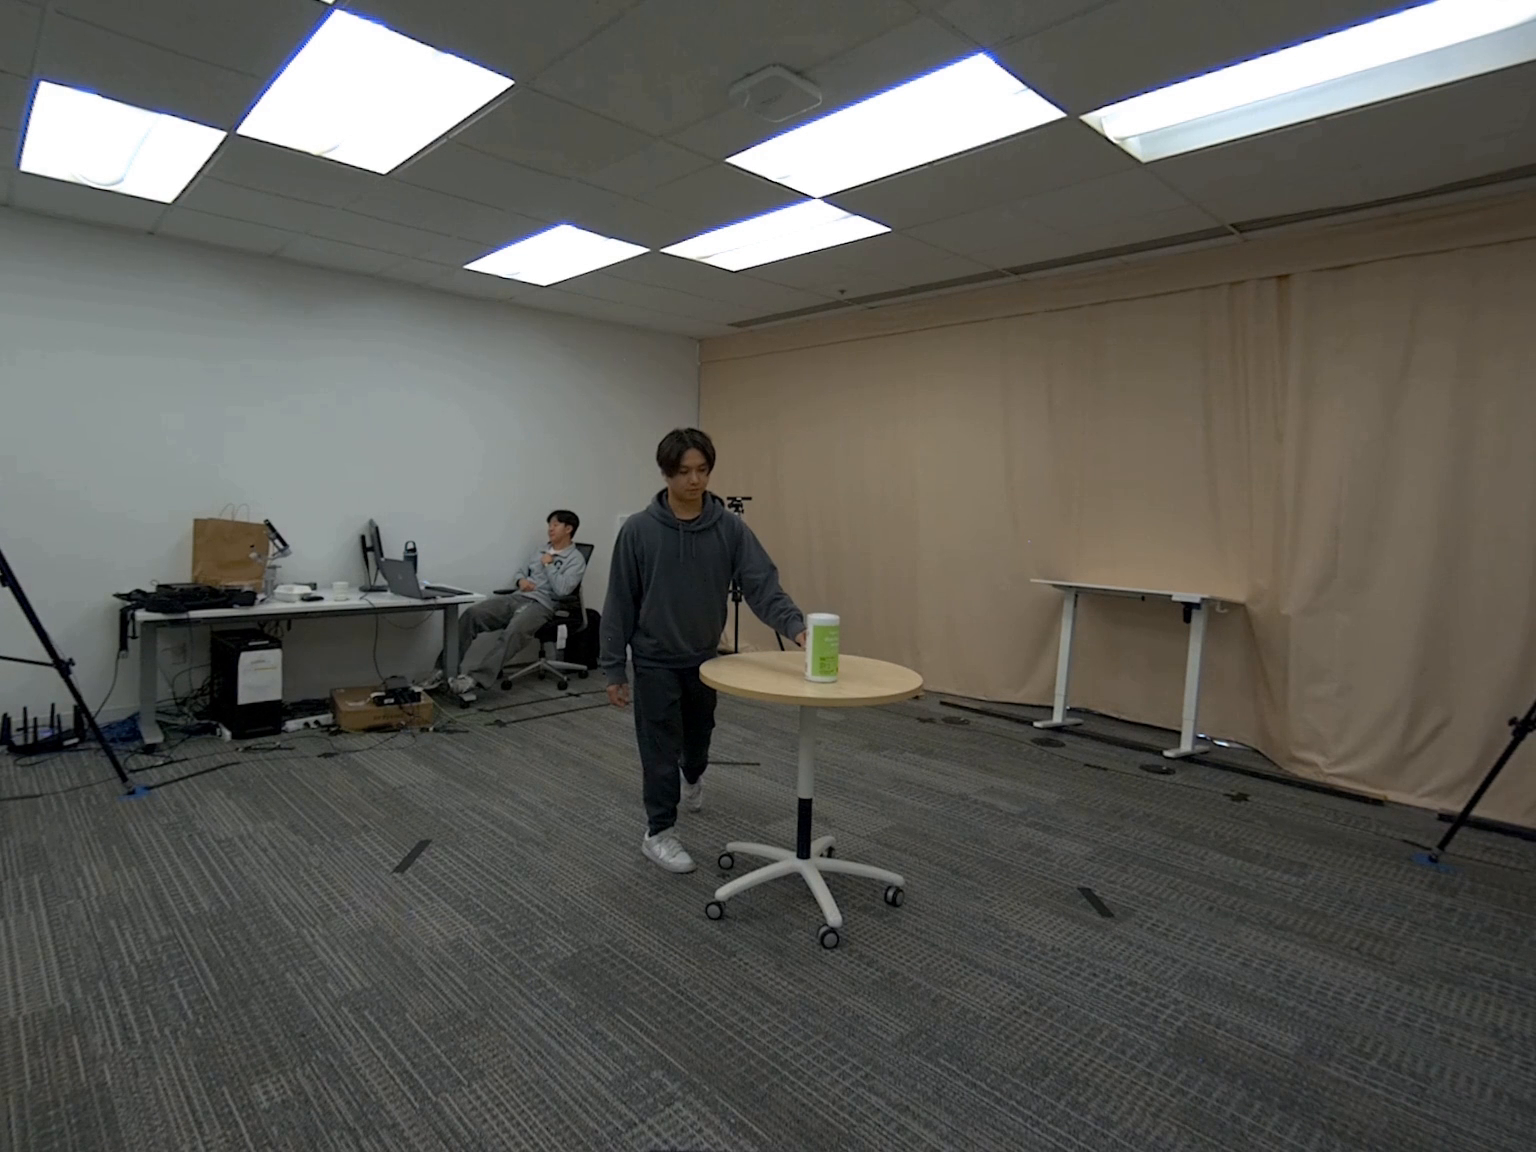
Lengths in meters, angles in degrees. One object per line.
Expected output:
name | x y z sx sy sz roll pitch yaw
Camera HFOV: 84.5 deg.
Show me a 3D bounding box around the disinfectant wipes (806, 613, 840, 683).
disinfectant wipes | 0.173 0.241 2.786 0.118 0.217 0.118 3 4 -2
